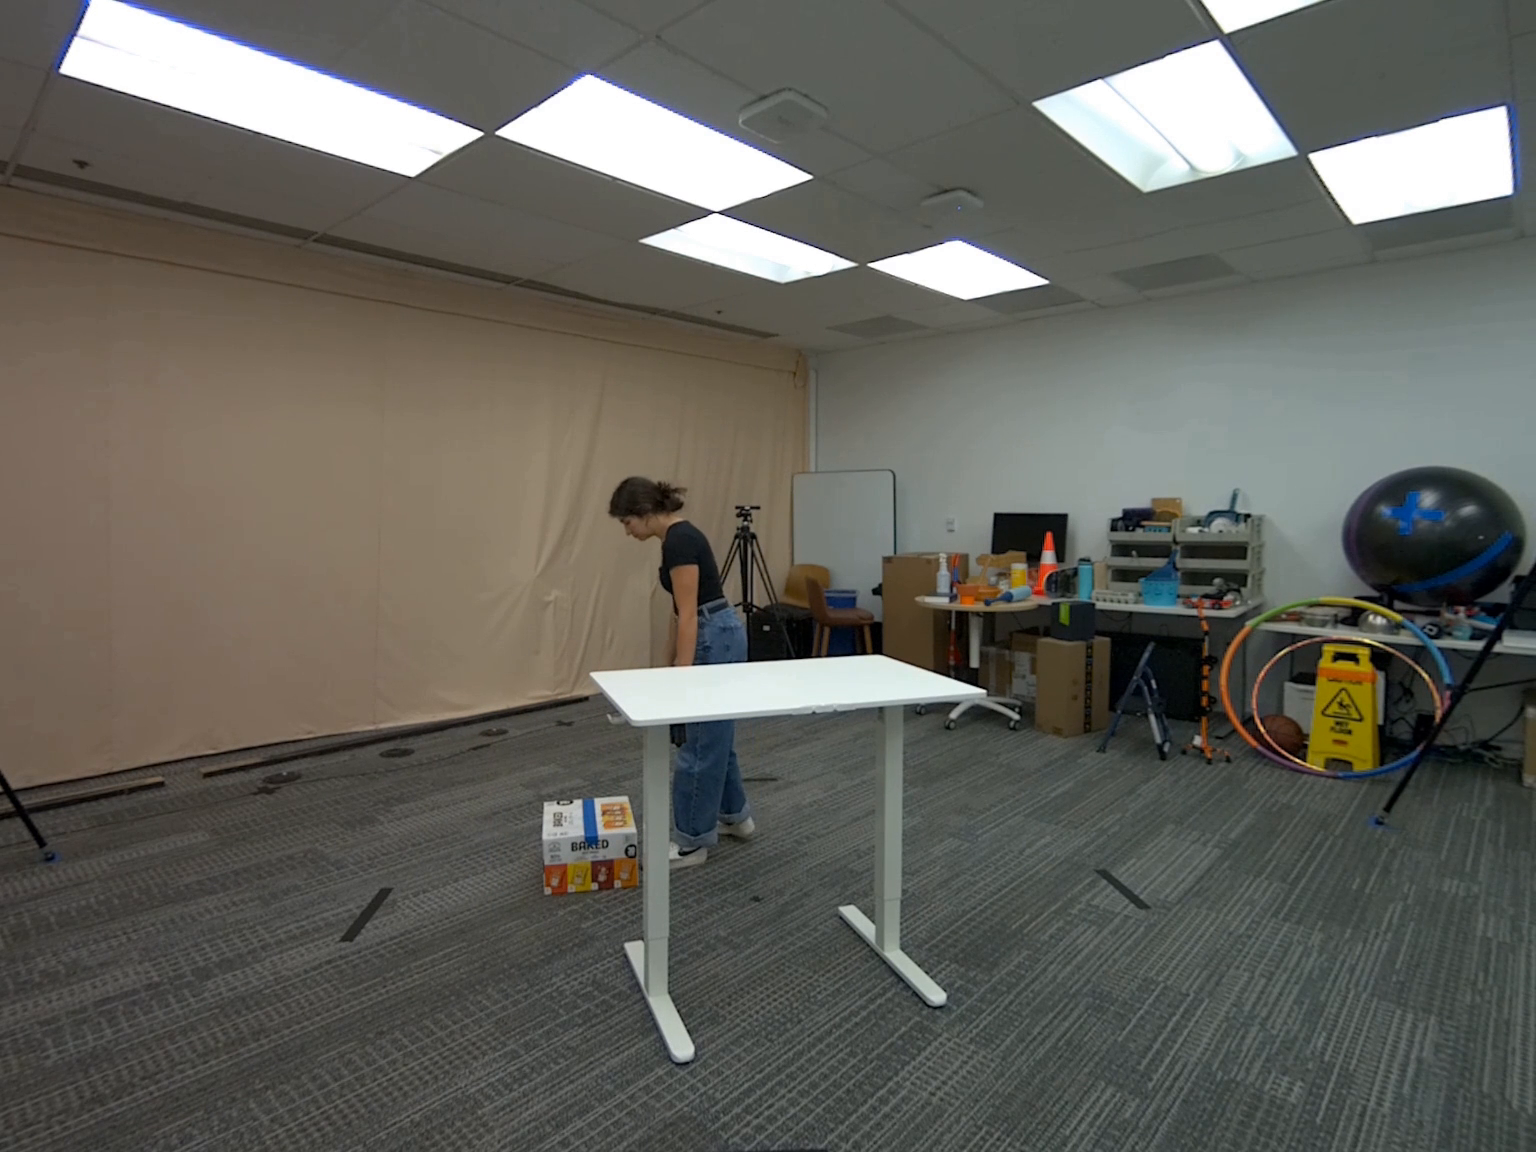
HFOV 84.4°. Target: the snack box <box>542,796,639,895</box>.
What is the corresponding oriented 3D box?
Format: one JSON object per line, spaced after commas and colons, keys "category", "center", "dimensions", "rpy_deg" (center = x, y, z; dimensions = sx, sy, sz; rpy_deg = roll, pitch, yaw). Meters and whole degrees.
{"category": "snack box", "center": [-0.695, 1.028, 3.243], "dimensions": [0.336, 0.205, 0.411], "rpy_deg": [-1, 4, -13]}
